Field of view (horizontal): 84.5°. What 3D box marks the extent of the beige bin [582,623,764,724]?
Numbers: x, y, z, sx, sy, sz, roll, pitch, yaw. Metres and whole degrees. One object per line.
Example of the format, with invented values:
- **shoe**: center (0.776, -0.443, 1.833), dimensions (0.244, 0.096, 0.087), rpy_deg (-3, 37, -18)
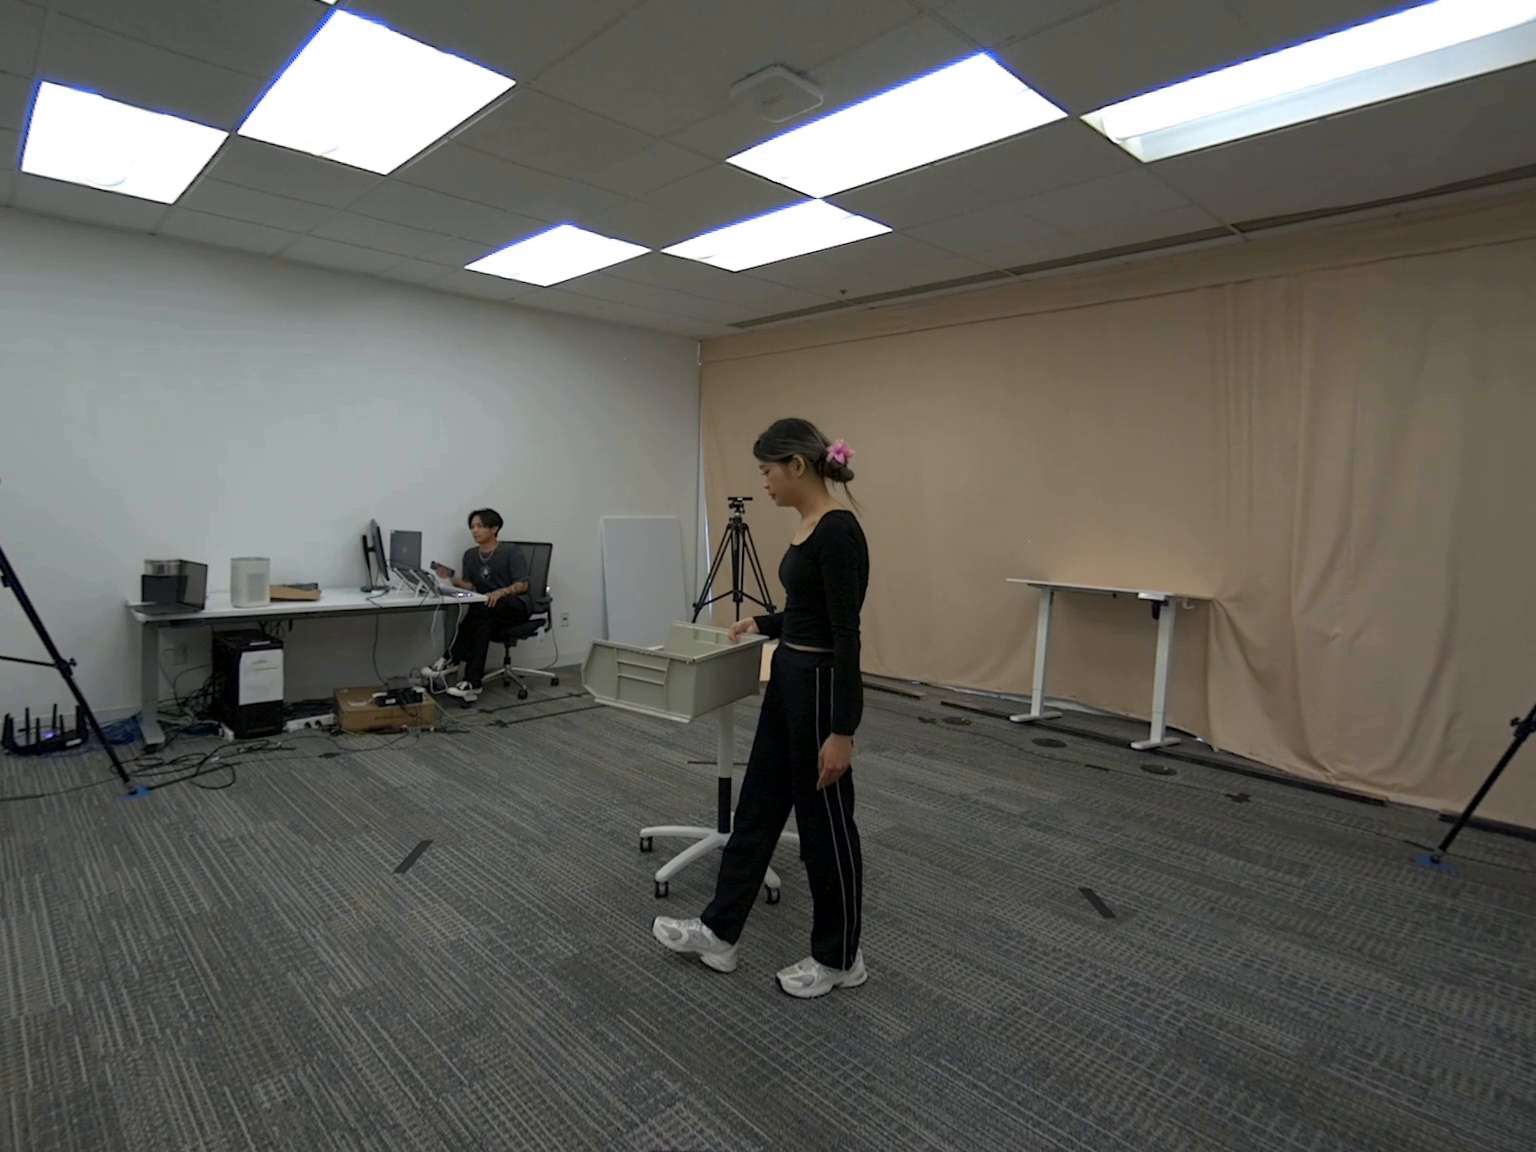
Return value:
- **beige bin**: center (-0.269, 0.267, 2.464), dimensions (0.385, 0.188, 0.415), rpy_deg (7, 7, 26)
